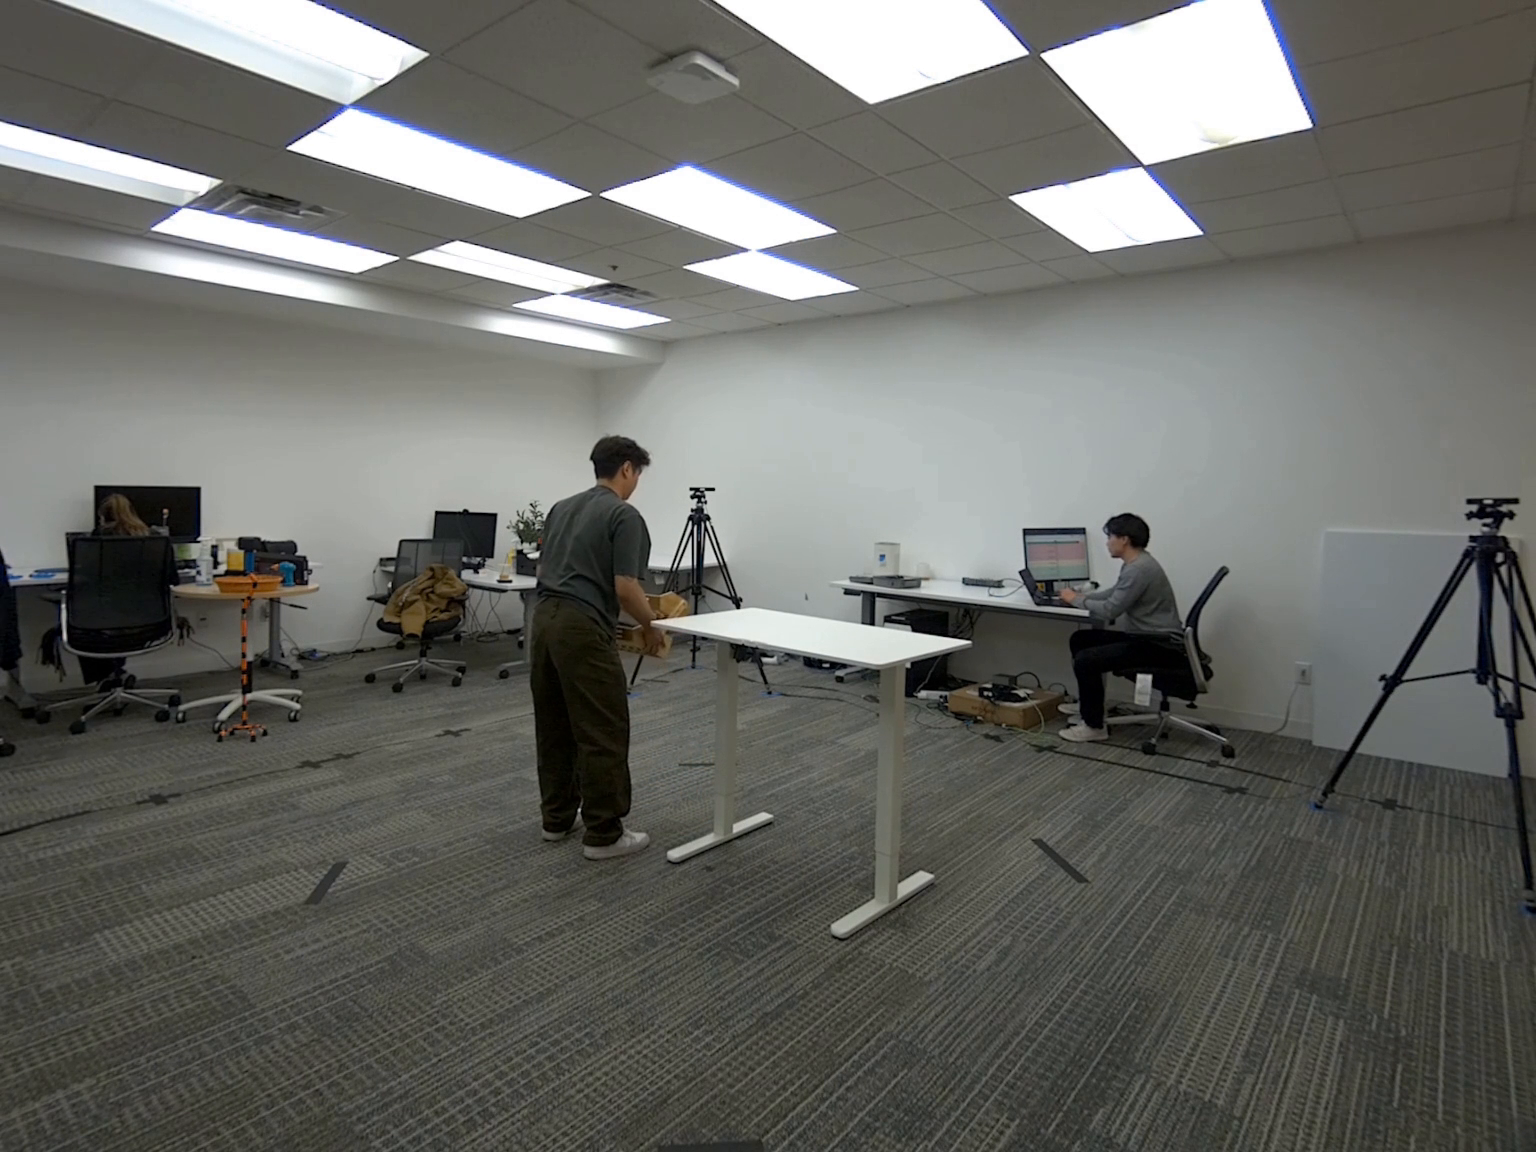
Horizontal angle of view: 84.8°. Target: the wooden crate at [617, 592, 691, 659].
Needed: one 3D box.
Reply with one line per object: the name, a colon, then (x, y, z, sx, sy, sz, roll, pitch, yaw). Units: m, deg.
wooden crate: (-0.561, 0.164, 3.530, 0.335, 0.276, 0.289, 6, -20, 35)
